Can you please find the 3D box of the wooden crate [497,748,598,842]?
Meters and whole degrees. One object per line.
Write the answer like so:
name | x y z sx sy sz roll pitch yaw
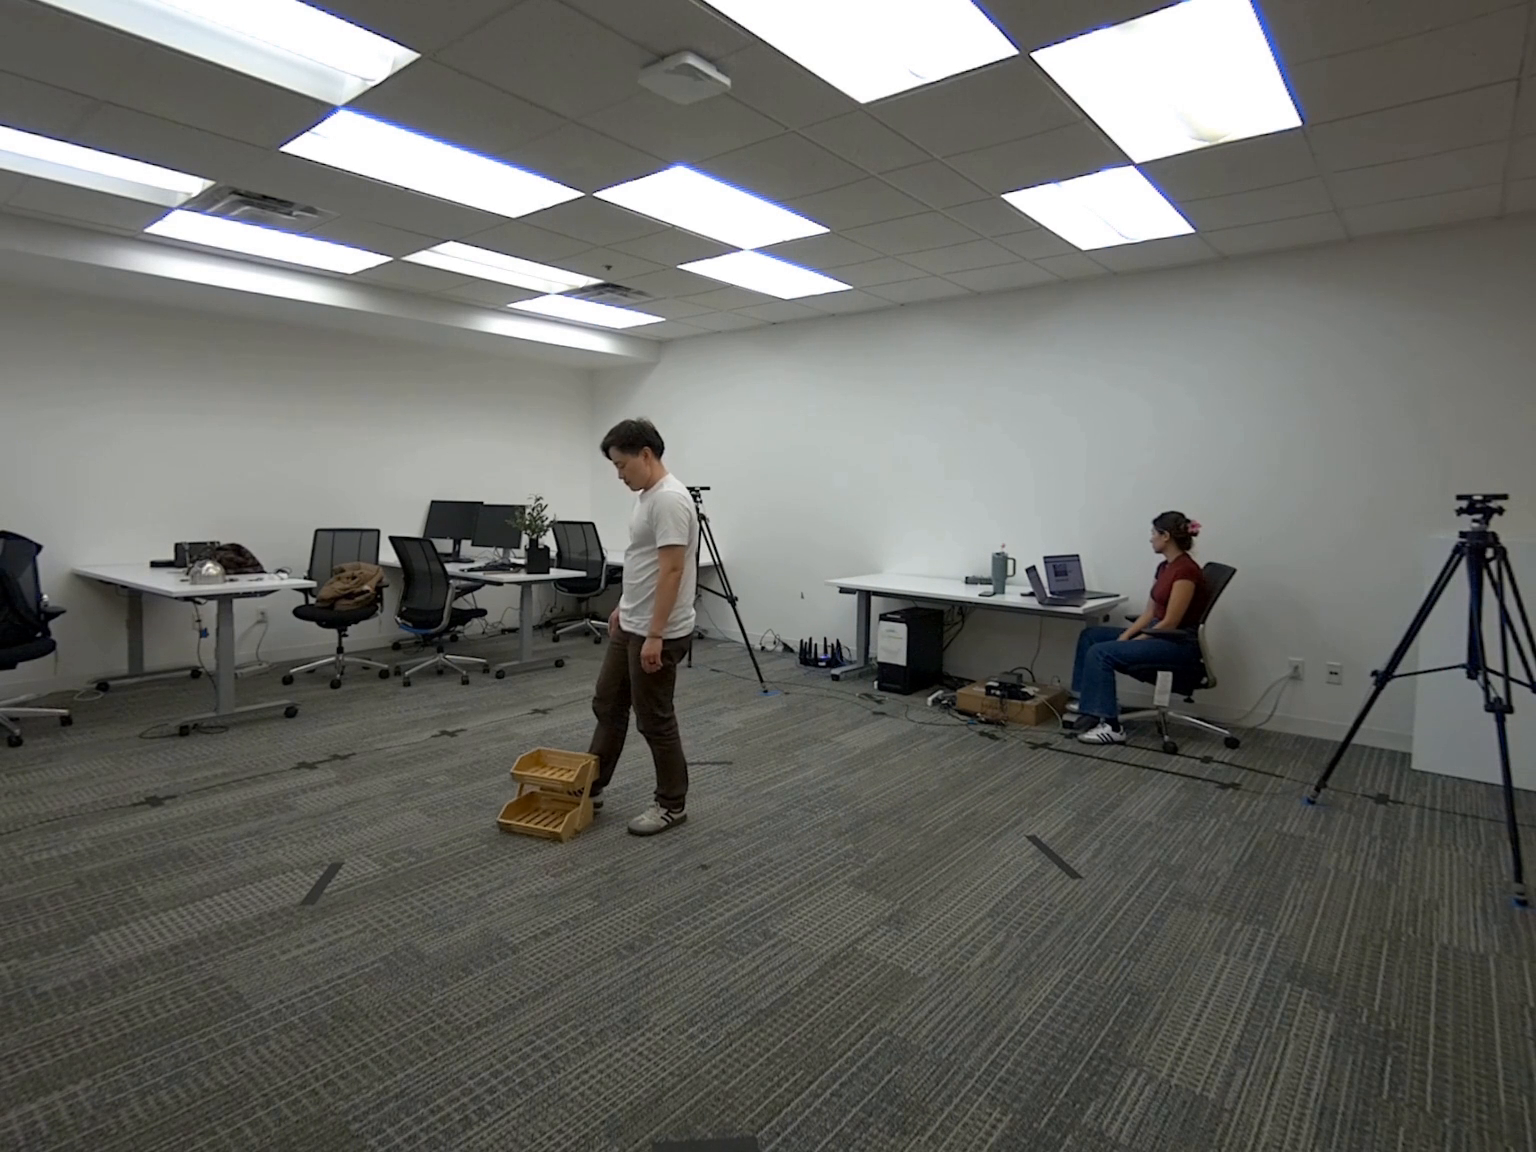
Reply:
wooden crate | -0.916 0.890 3.494 0.332 0.272 0.296 3 5 21
